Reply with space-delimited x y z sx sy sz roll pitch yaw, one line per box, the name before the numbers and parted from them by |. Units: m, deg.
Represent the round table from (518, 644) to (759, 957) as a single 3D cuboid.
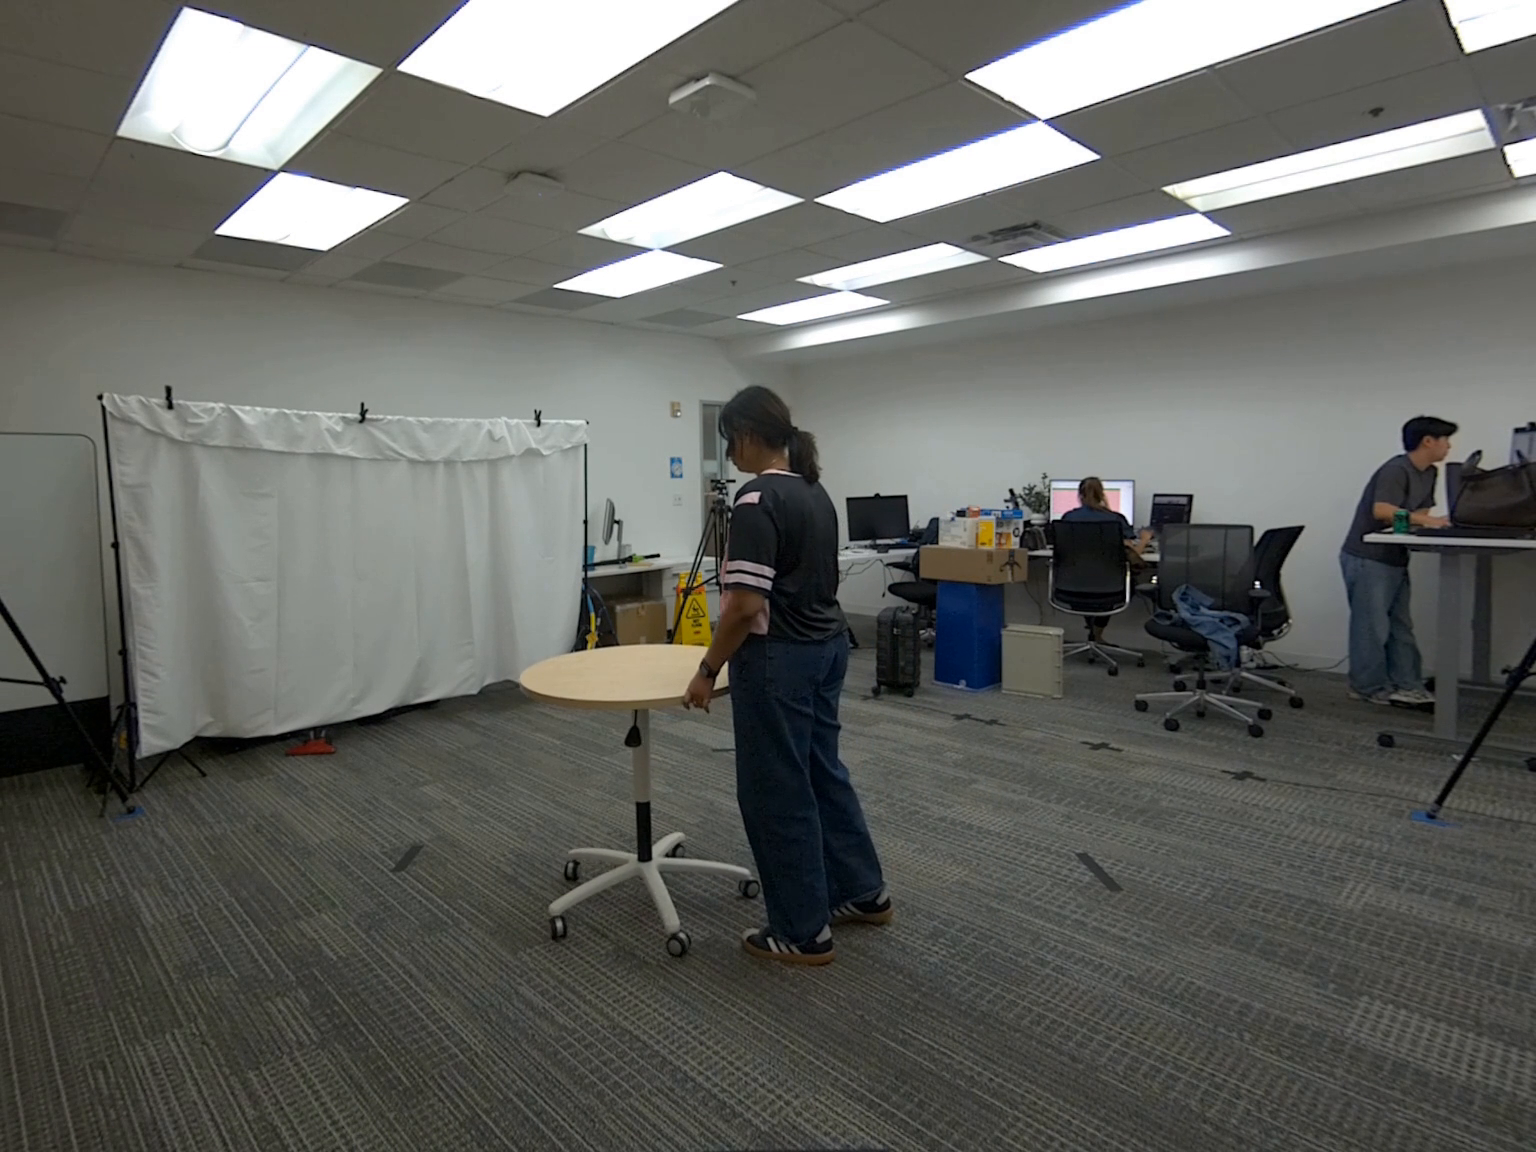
round table | -0.412 0.696 2.837 0.763 0.790 0.768 -1 6 -2
